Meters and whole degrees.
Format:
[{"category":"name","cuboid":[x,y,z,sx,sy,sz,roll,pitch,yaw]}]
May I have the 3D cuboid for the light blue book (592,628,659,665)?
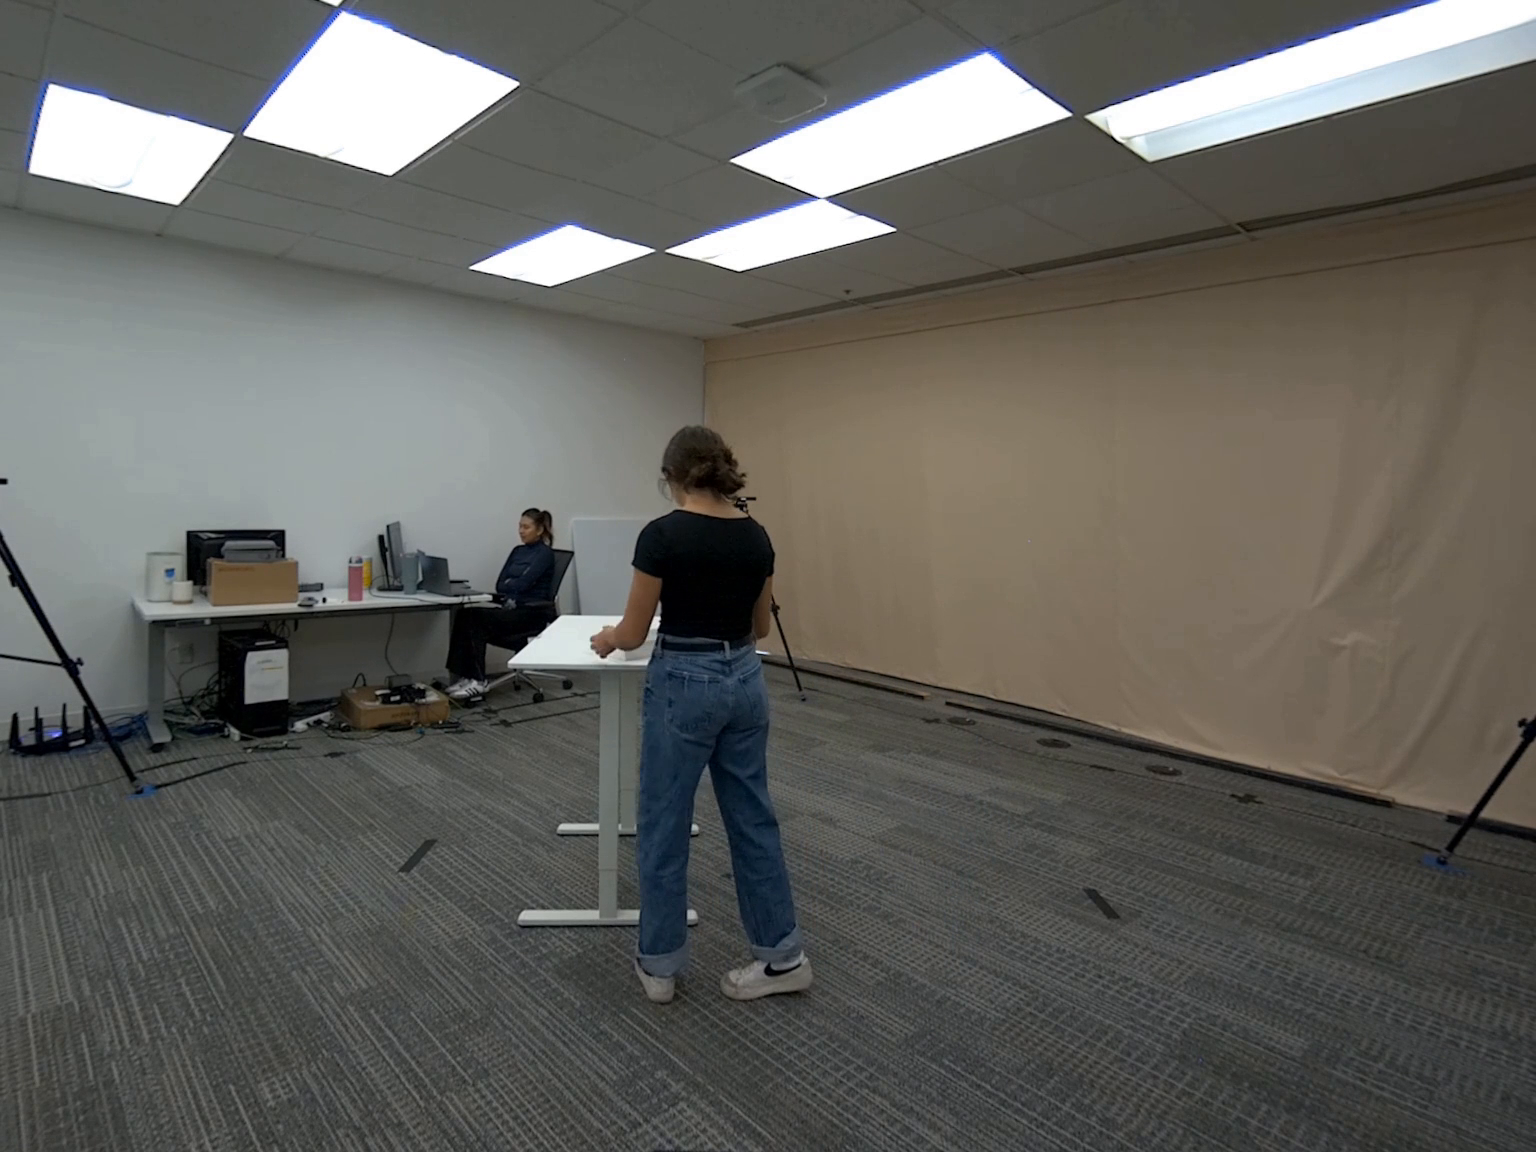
[{"category":"light blue book","cuboid":[-0.410,0.226,2.763,0.255,0.059,0.196,-4,8,-40]}]
